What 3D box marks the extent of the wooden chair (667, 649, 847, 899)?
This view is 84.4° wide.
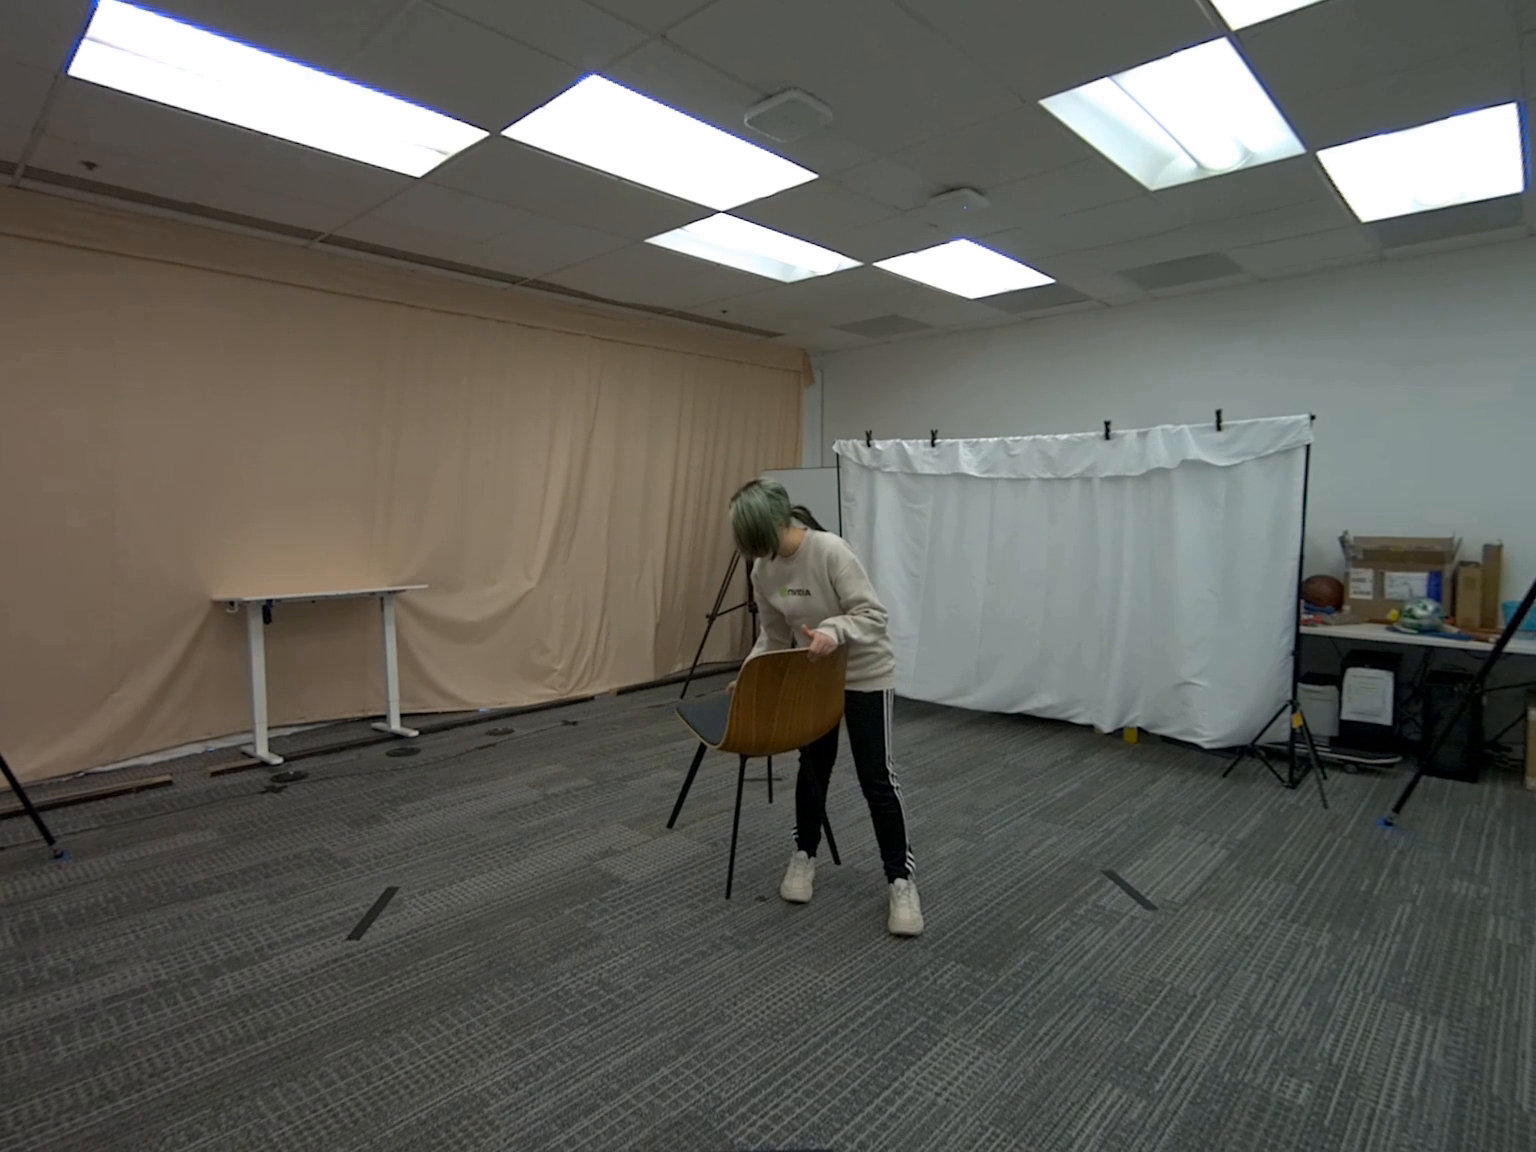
[{"bbox_3d":[-0.046,0.558,2.887,0.466,0.869,0.542,-5,20,-30],"label":"wooden chair"}]
